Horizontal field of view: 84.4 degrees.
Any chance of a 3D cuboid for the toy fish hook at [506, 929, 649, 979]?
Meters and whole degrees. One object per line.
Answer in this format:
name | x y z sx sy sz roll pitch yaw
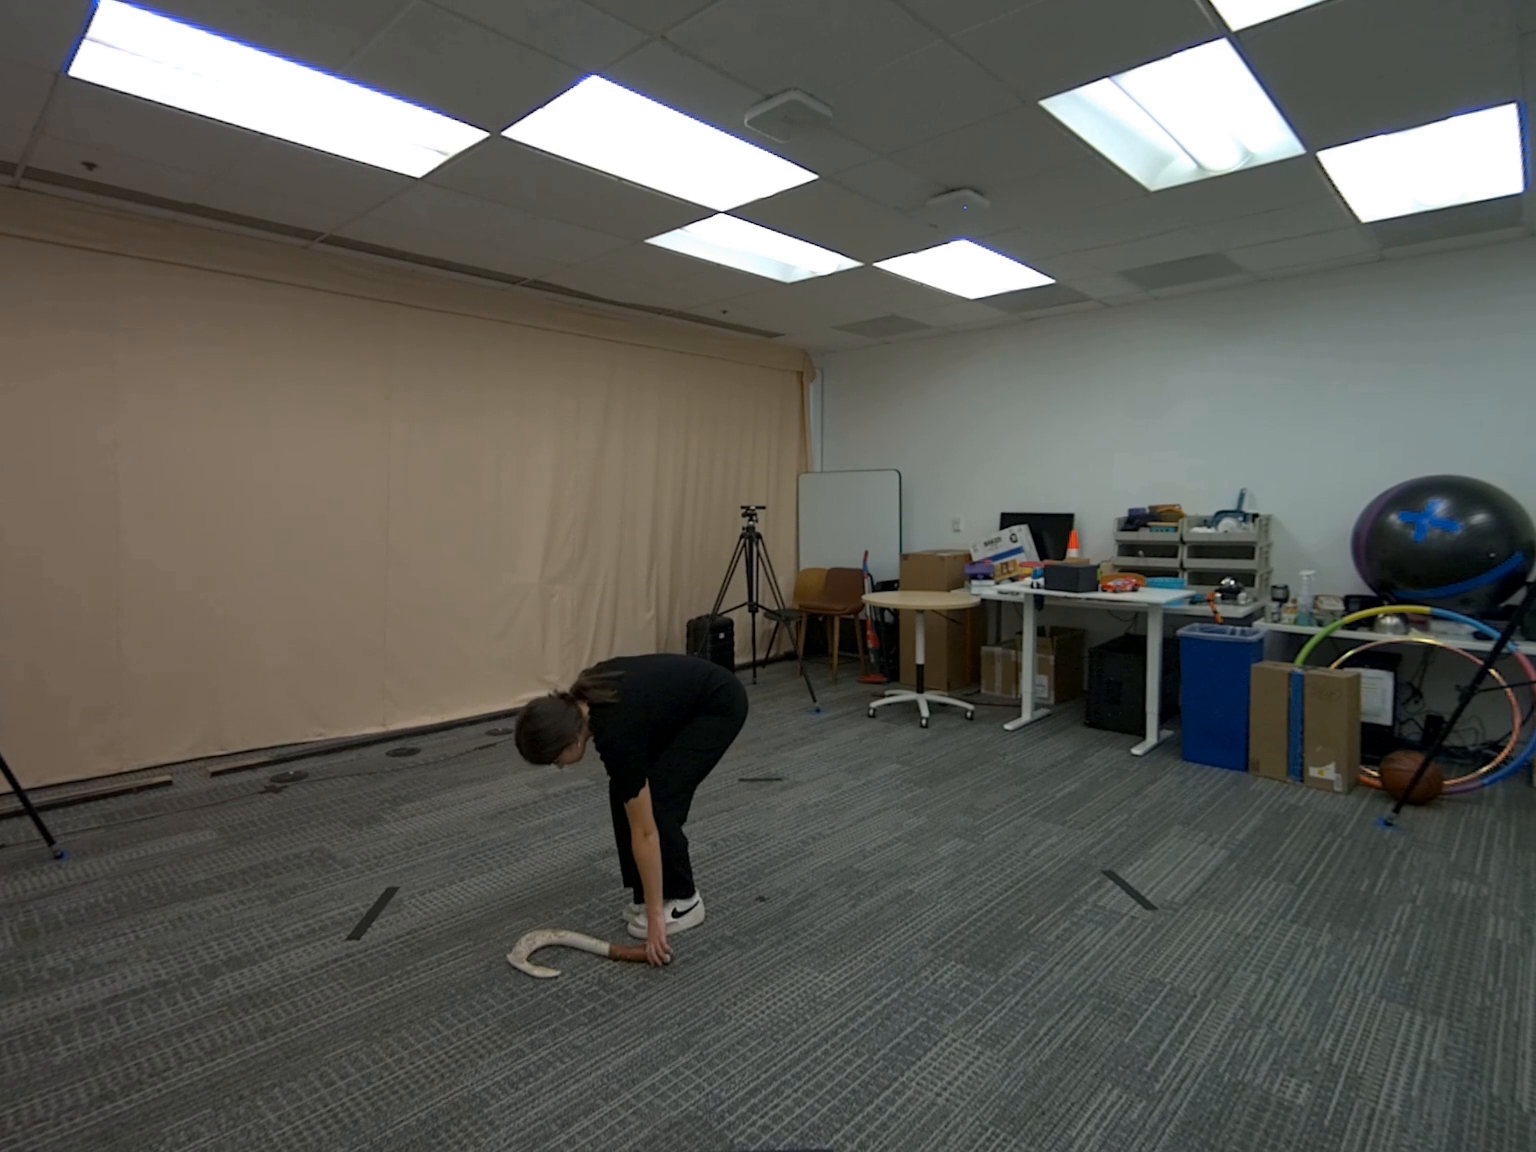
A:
toy fish hook | -0.546 1.166 2.571 0.513 0.048 0.223 -1 11 11
